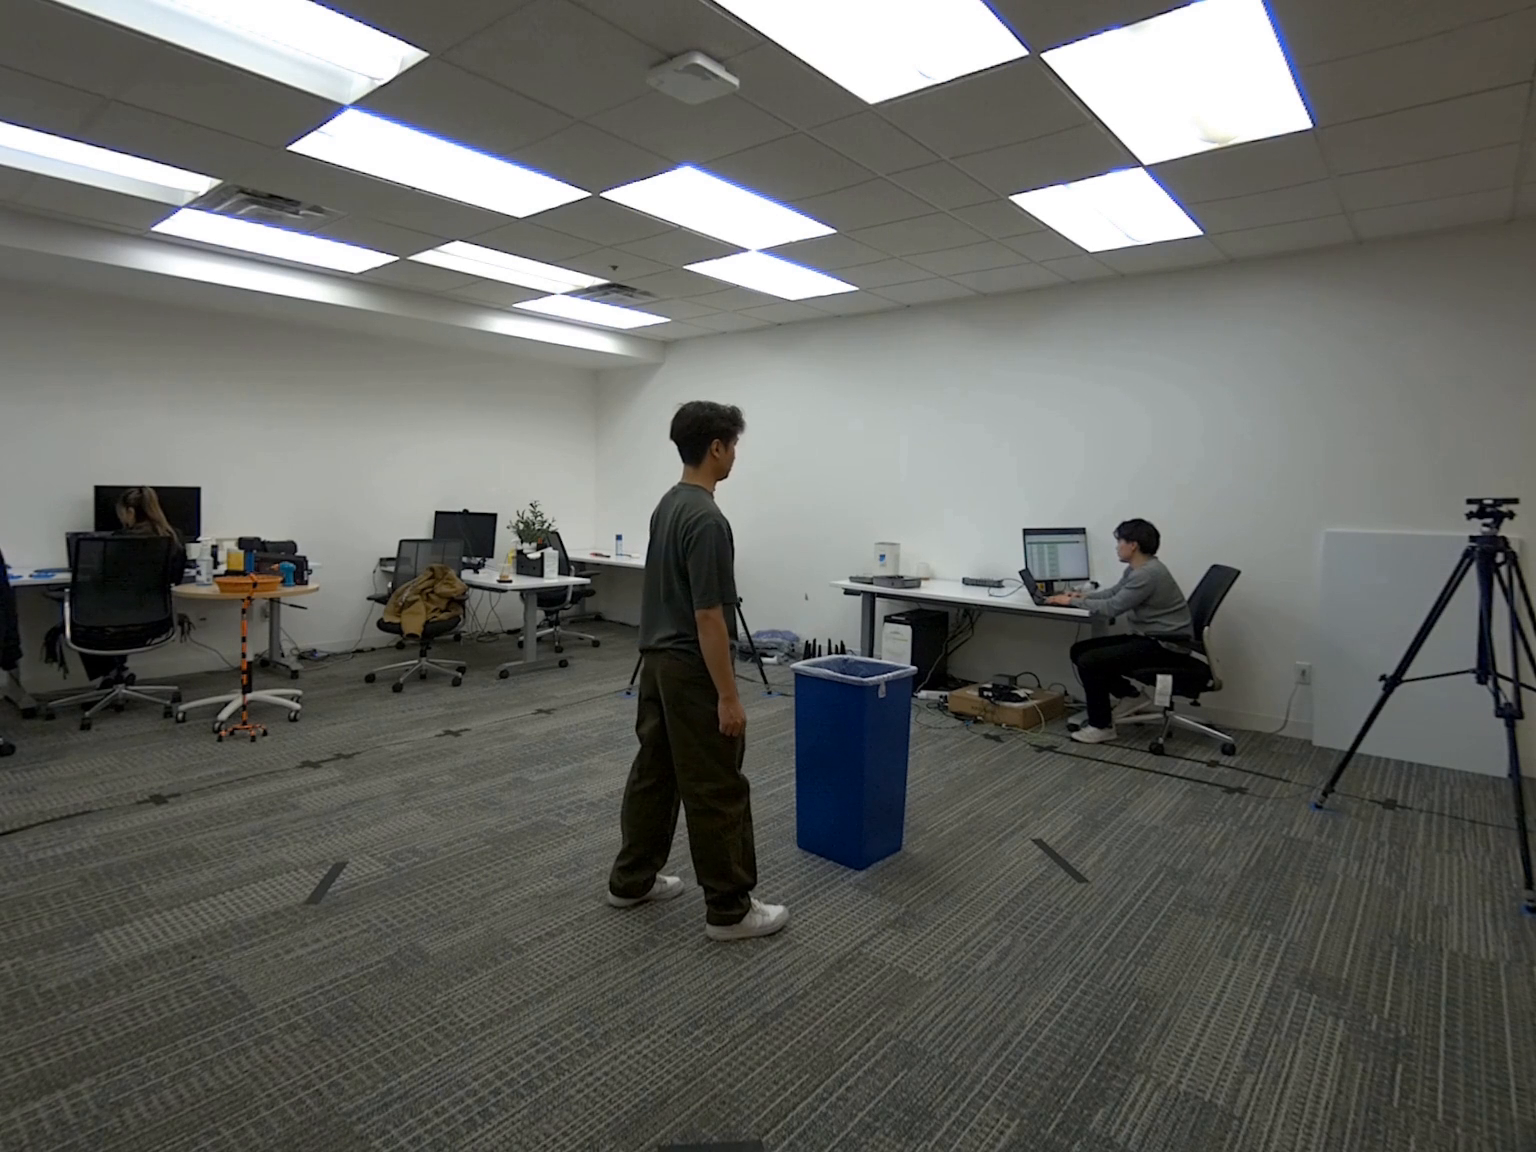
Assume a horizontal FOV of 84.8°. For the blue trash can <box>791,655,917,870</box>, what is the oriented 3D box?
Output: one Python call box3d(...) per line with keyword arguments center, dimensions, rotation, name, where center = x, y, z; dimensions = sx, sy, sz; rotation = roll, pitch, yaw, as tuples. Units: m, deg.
box3d(center=(0.318, 0.699, 3.300), dimensions=(0.391, 0.712, 0.362), rotation=(4, 3, 41), name="blue trash can")
